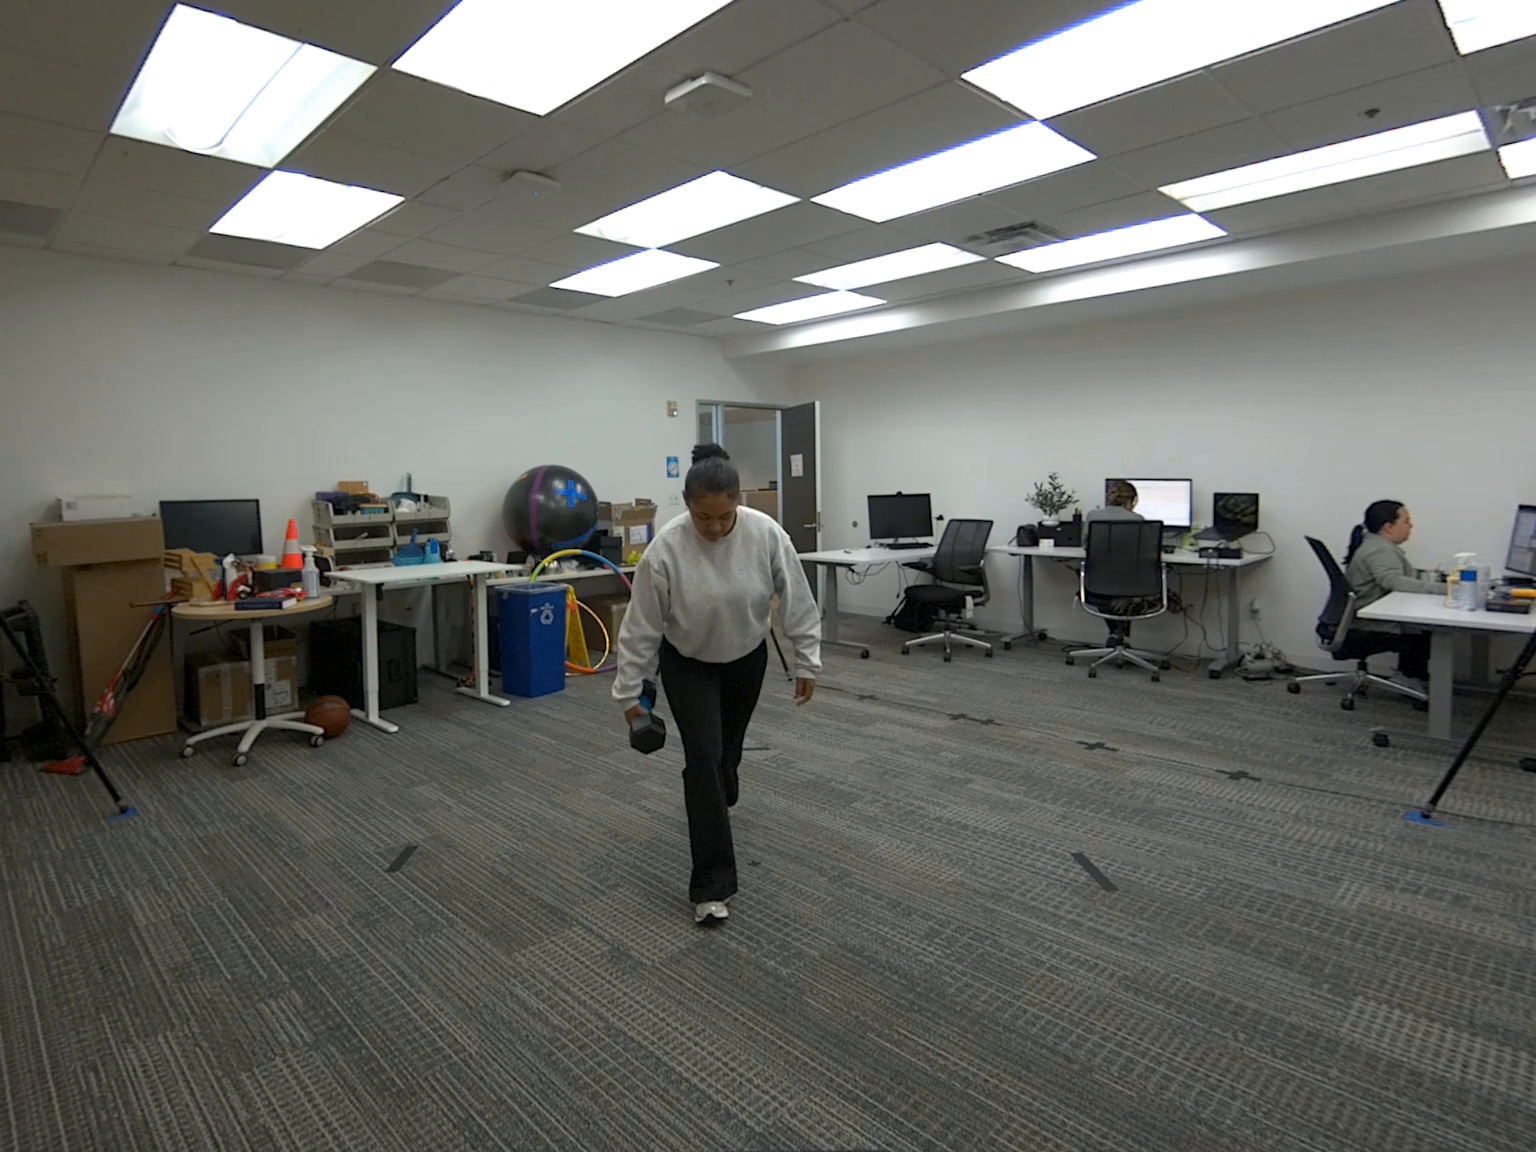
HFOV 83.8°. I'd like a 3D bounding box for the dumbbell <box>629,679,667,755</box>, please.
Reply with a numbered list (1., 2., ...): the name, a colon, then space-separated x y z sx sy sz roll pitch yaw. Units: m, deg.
1. dumbbell: -0.409 0.456 2.802 0.107 0.121 0.303 4 24 -17
